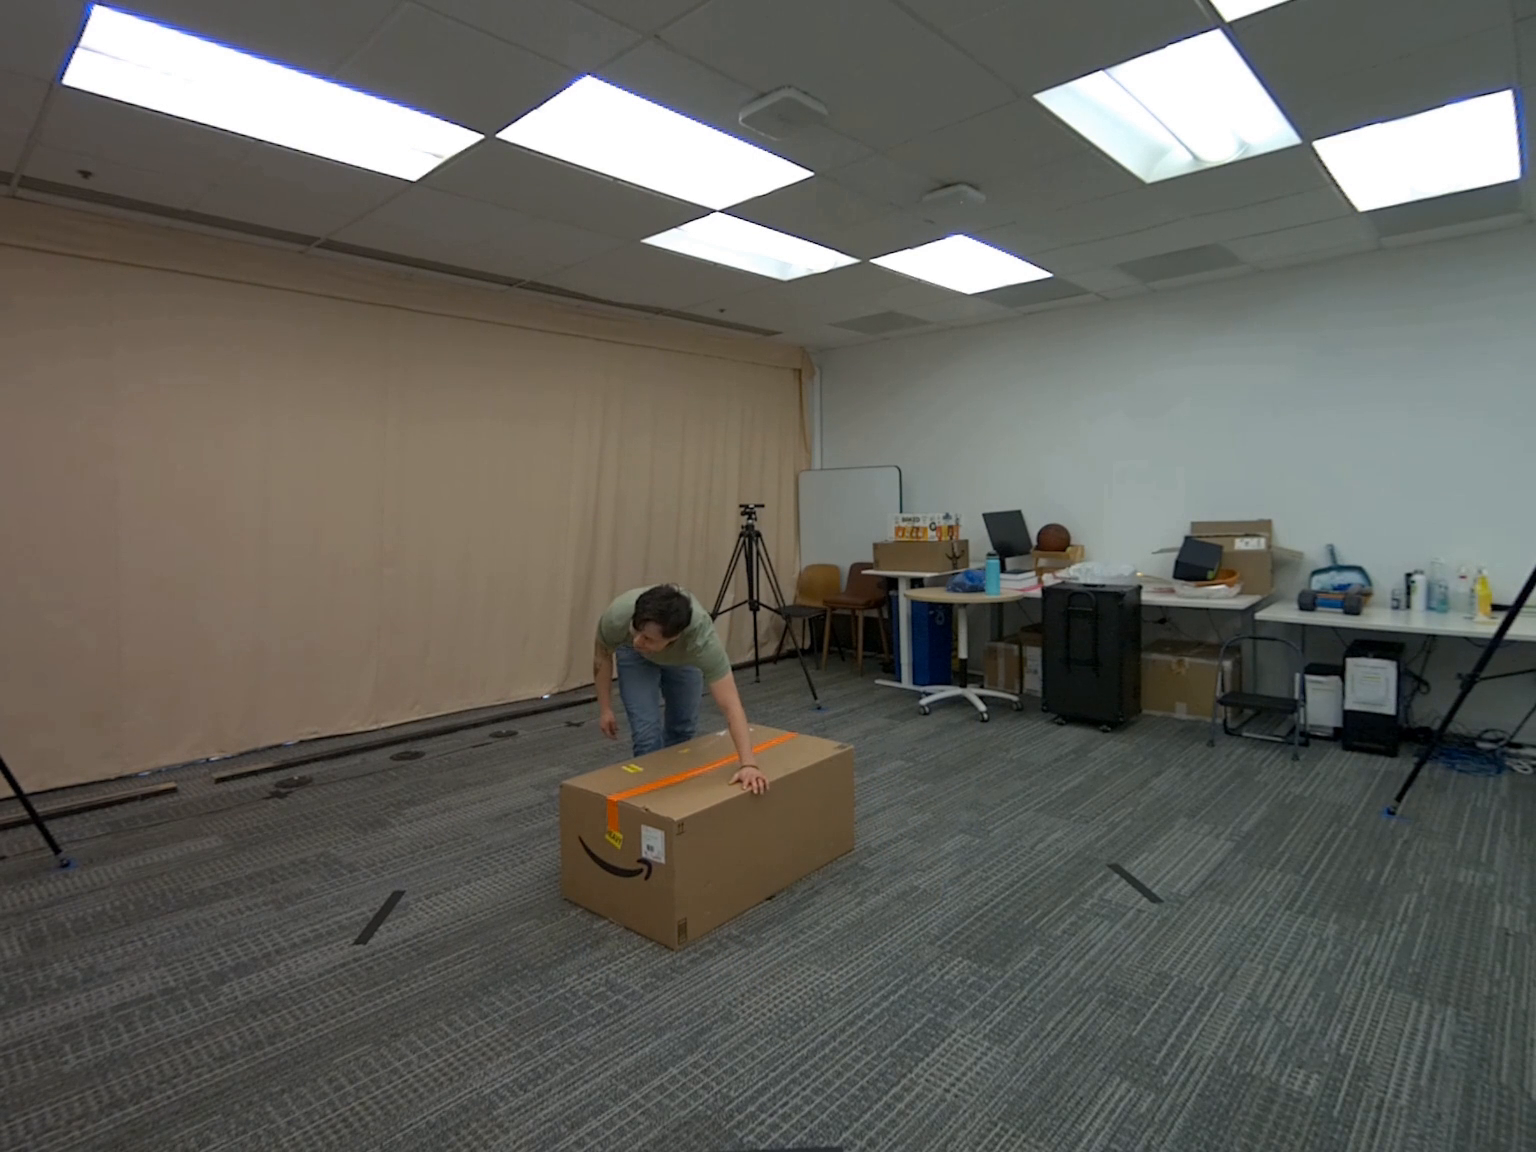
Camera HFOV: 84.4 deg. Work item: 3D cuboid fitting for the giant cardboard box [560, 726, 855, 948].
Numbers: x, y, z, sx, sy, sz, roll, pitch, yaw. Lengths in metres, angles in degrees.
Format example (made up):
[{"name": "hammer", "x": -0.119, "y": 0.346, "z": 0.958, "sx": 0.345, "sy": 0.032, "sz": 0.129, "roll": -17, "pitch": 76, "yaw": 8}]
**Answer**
[{"name": "giant cardboard box", "x": -0.191, "y": 0.914, "z": 3.181, "sx": 0.596, "sy": 0.425, "sz": 0.995, "roll": 2, "pitch": 6, "yaw": 40}]
